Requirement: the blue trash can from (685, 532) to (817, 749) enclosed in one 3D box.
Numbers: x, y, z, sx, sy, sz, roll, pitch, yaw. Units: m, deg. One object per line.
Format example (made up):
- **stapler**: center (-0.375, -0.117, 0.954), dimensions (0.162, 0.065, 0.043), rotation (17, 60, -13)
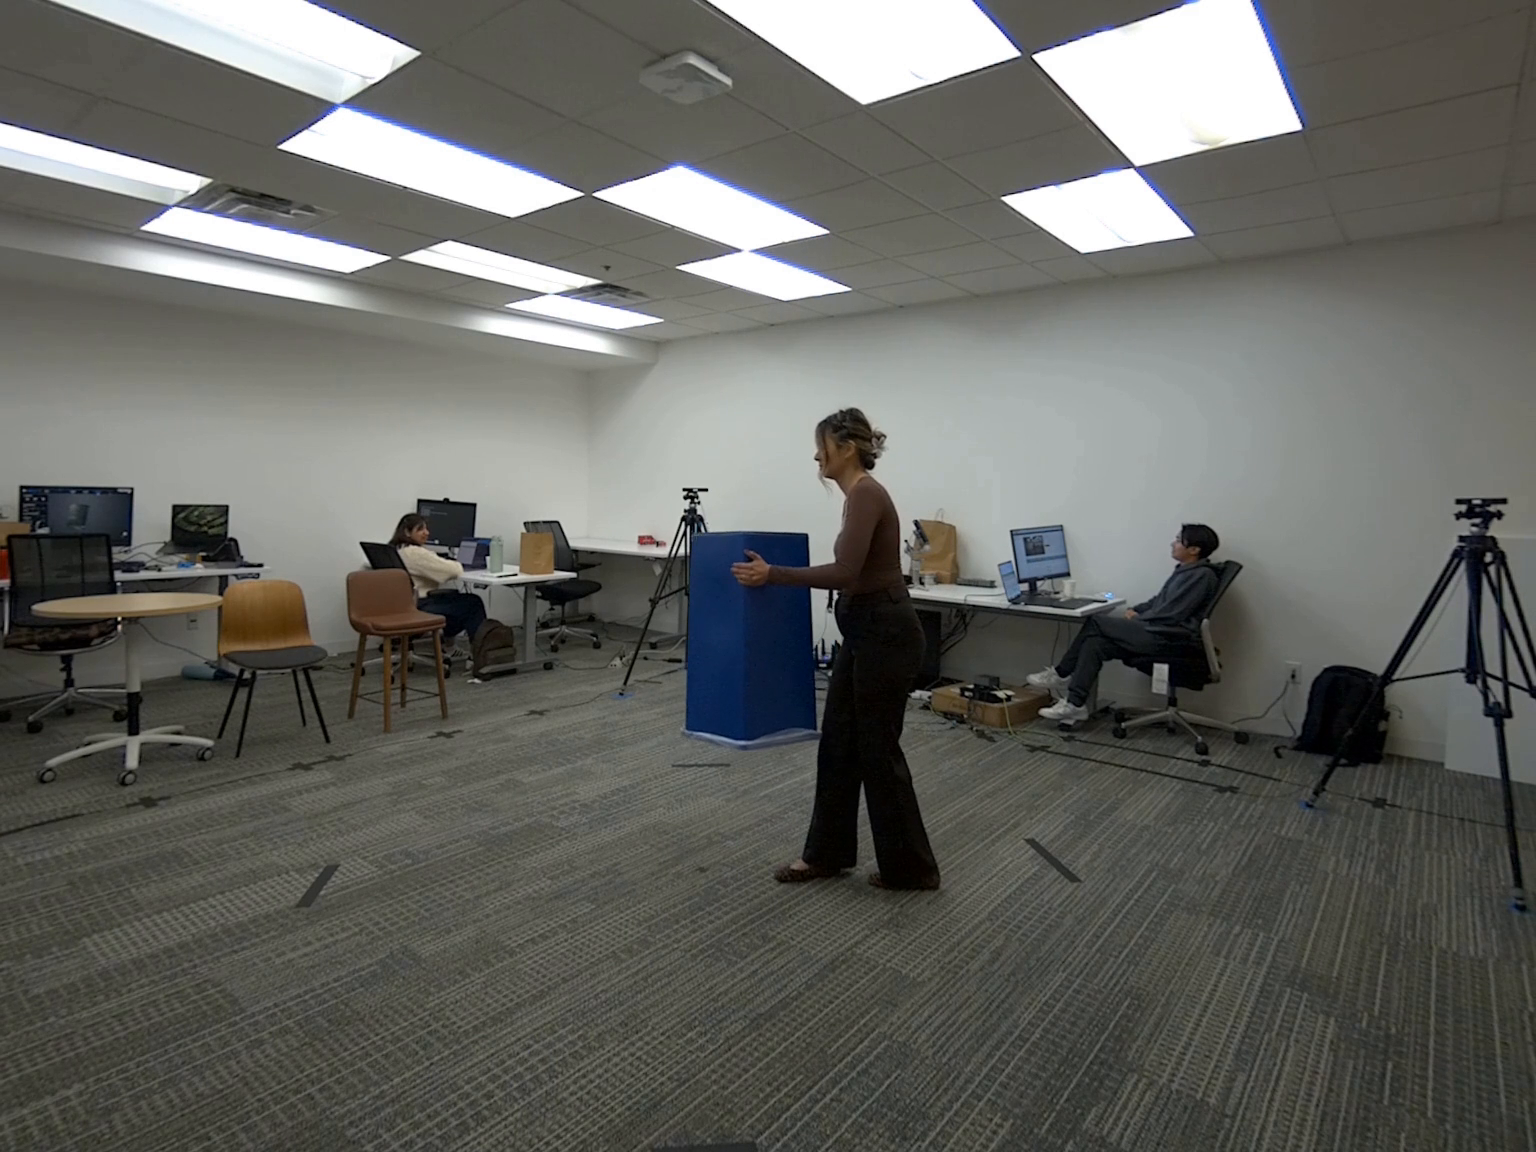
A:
- **blue trash can**: center (-0.070, 0.206, 2.994), dimensions (0.366, 0.714, 0.385), rotation (1, -1, -38)
